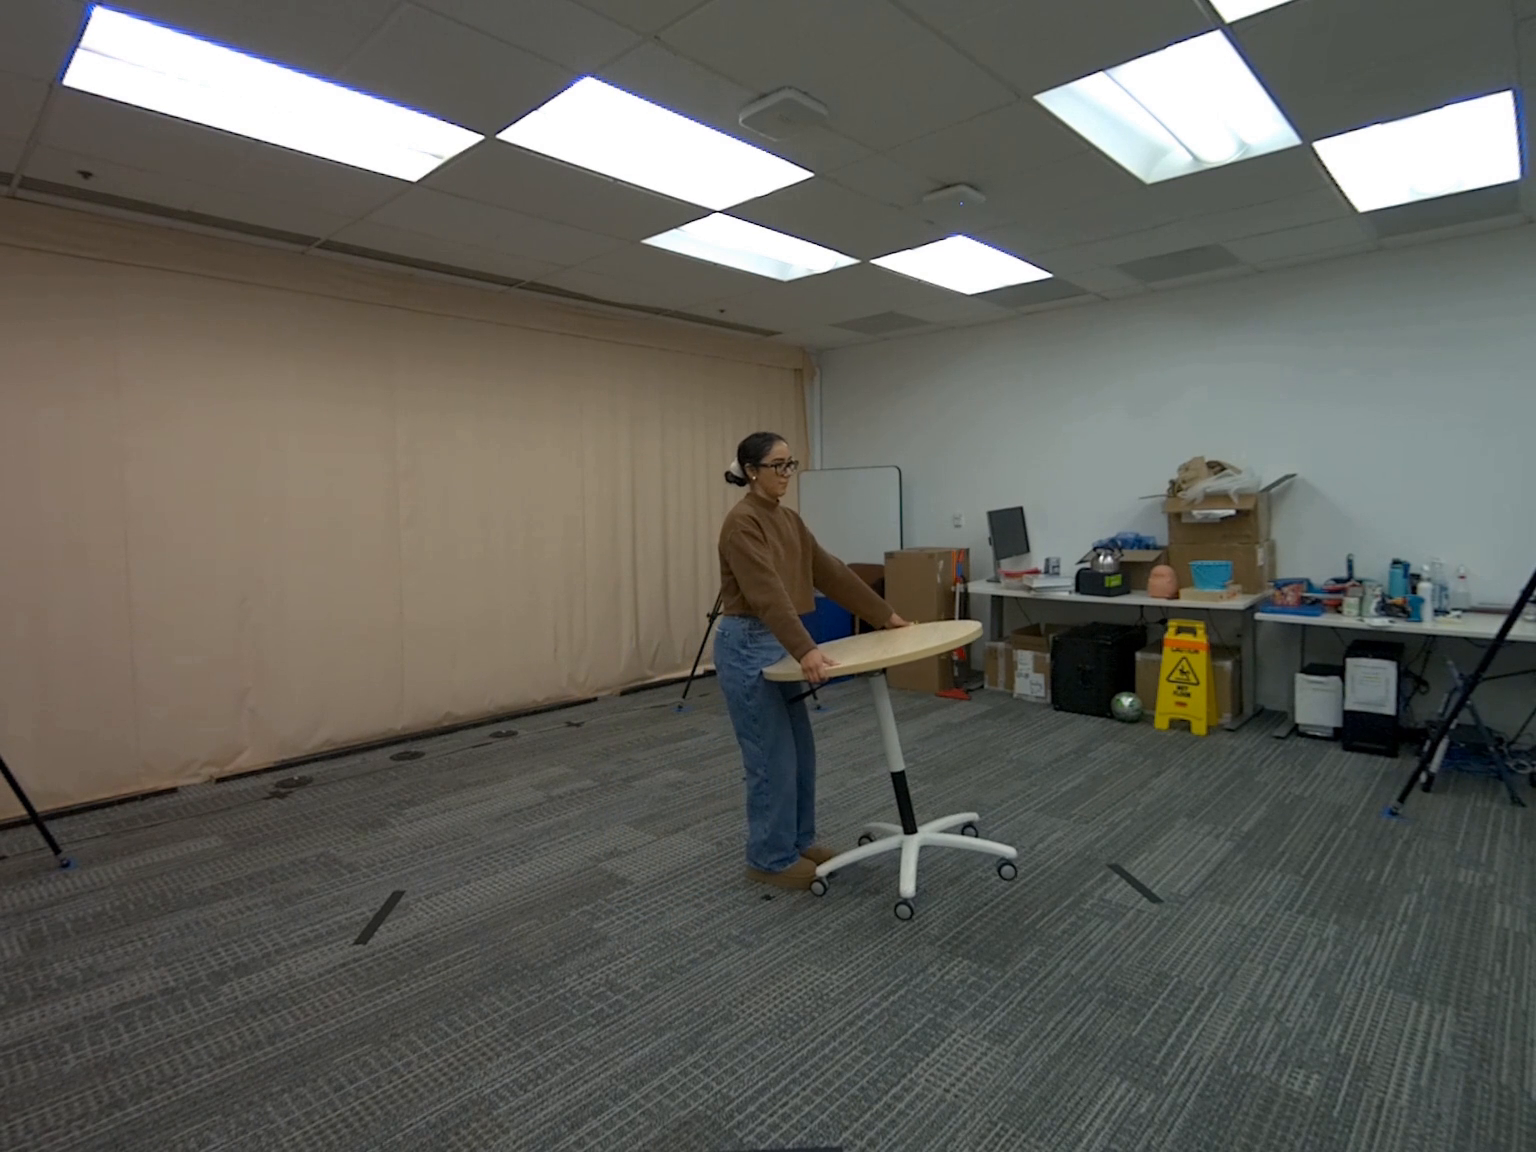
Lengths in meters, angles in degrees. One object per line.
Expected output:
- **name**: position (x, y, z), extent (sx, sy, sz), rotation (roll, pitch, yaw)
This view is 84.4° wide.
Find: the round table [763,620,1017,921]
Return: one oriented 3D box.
- **round table**: position (0.463, 0.633, 2.920), extent (0.784, 0.786, 0.786), rotation (-12, 1, -2)
